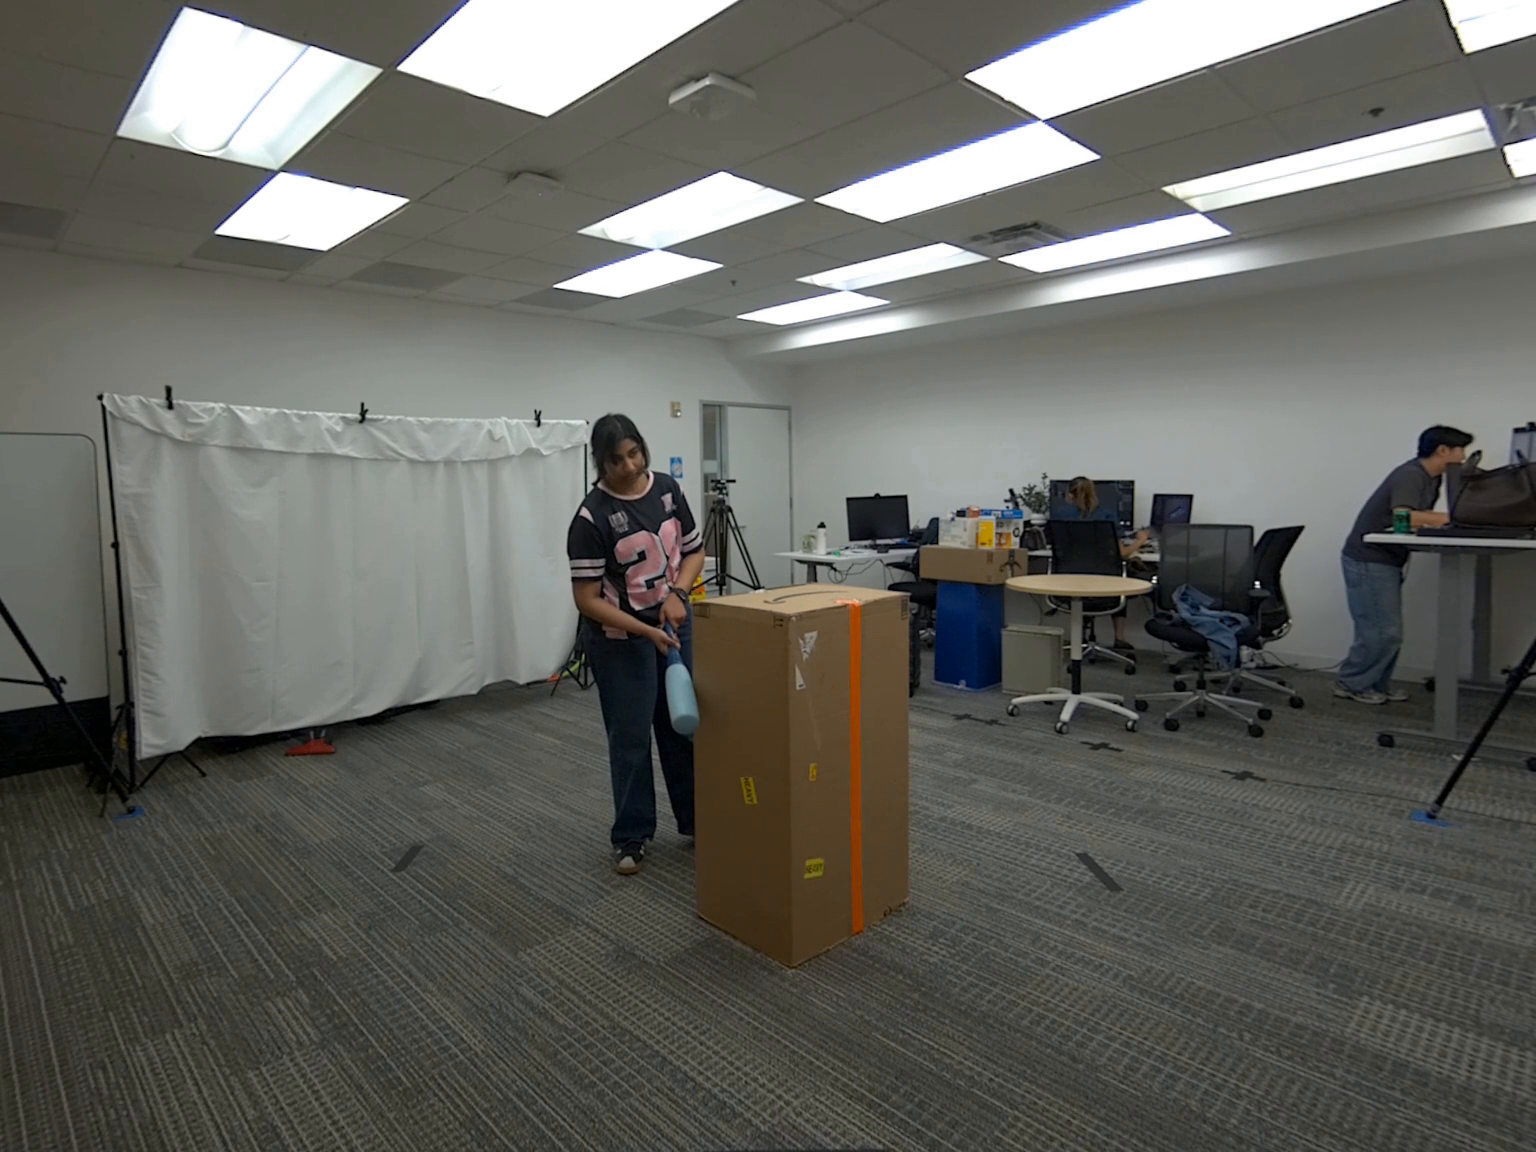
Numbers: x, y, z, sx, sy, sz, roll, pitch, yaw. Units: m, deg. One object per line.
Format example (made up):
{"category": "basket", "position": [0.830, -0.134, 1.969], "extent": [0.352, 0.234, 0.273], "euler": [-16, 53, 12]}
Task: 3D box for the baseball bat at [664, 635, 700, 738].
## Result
{"category": "baseball bat", "position": [-0.298, 0.304, 2.780], "extent": [0.088, 0.087, 0.560], "euler": [-2, 33, -10]}
